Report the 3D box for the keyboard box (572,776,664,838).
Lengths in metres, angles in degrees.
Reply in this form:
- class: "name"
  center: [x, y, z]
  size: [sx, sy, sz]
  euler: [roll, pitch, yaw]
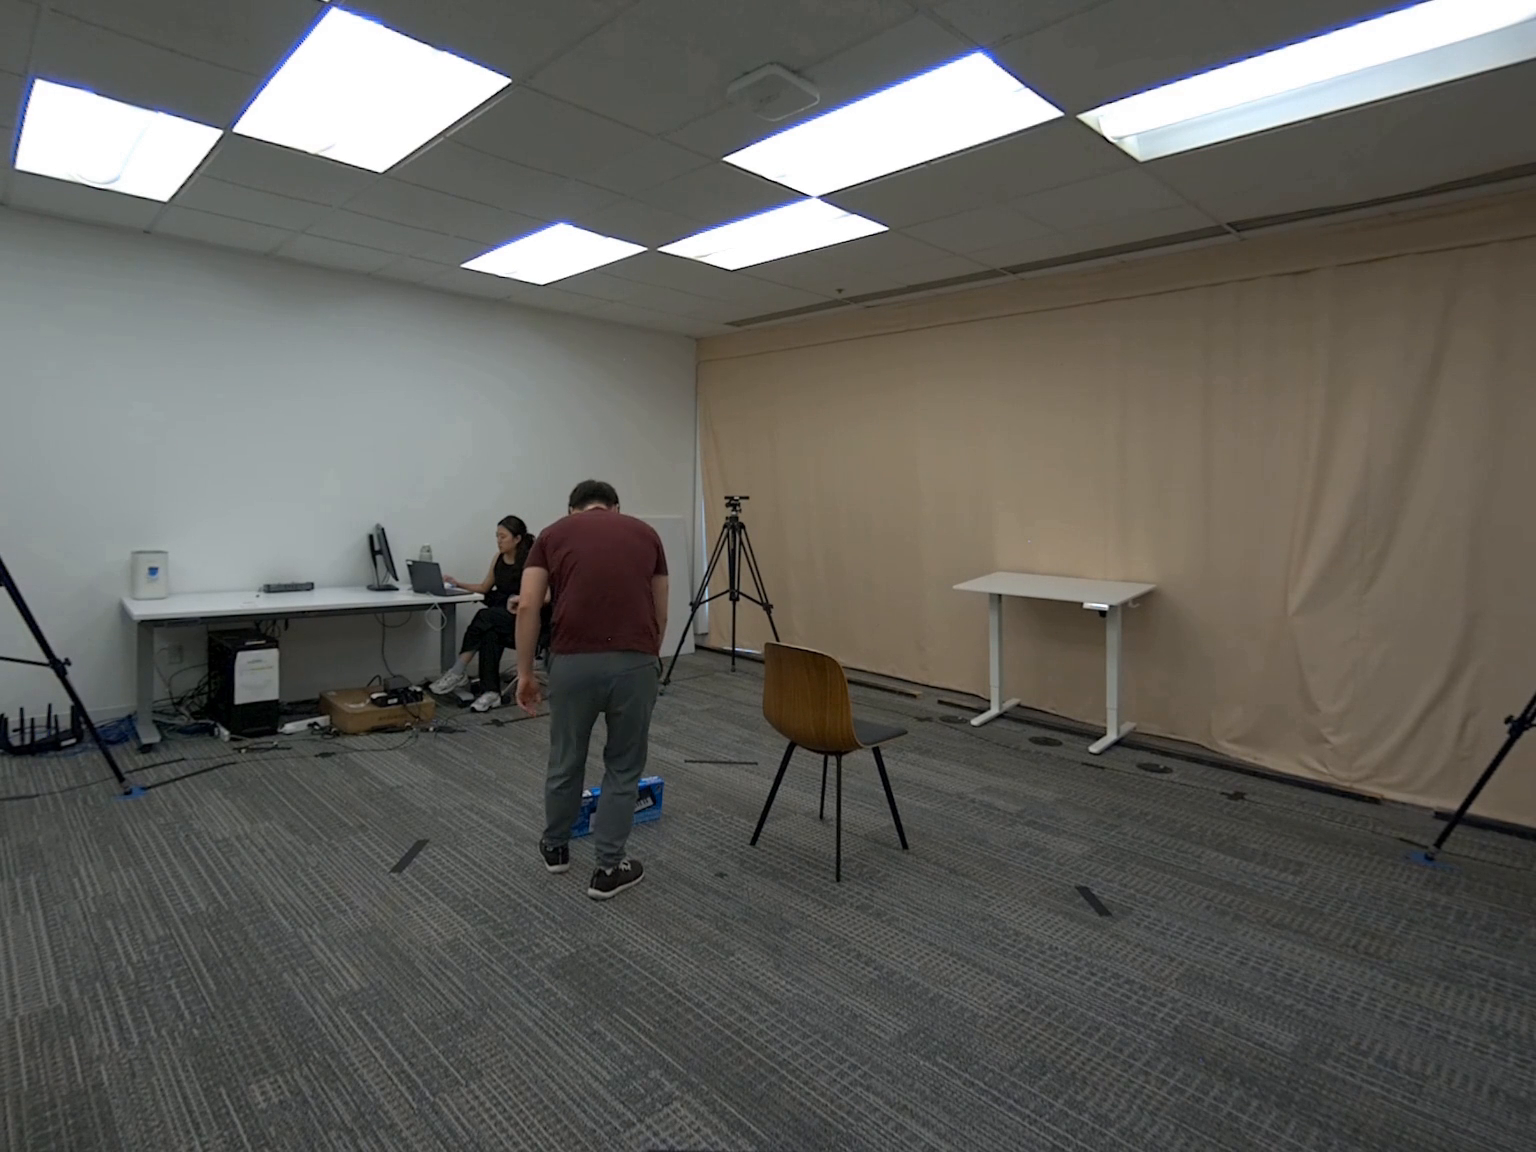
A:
- class: "keyboard box"
  center: [-0.647, 0.964, 3.523]
  size: [0.427, 0.175, 0.061]
  euler: [-3, 12, -36]
